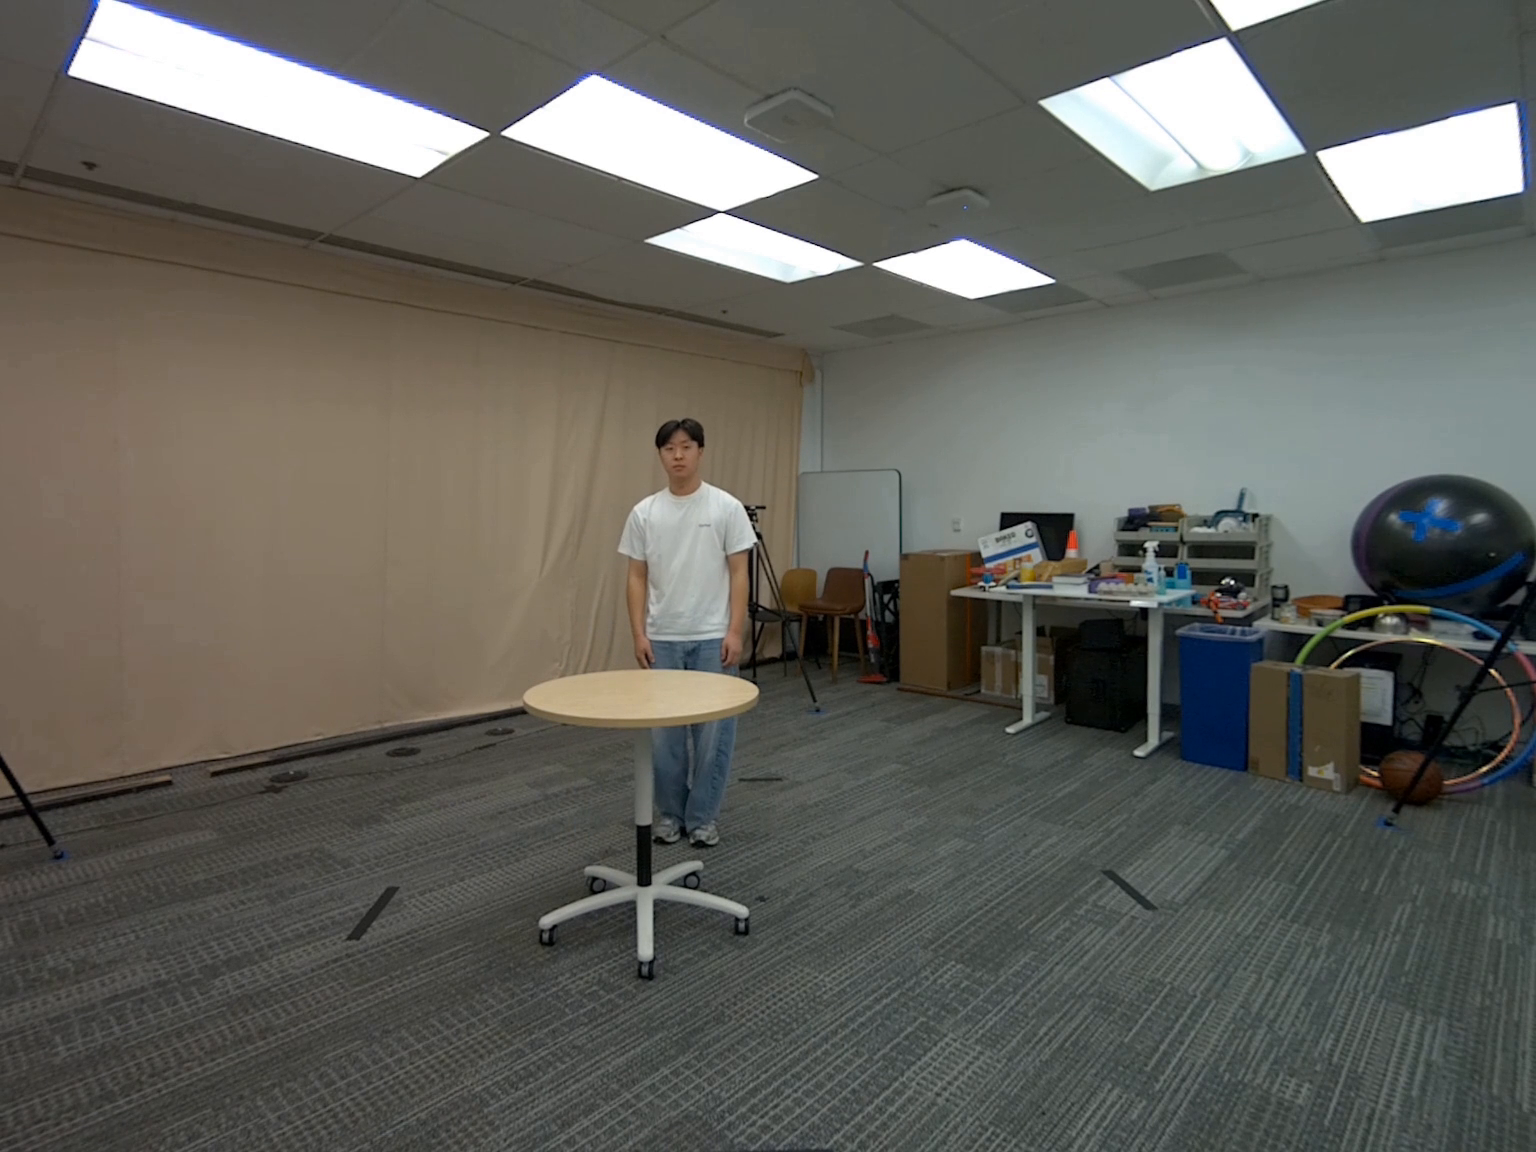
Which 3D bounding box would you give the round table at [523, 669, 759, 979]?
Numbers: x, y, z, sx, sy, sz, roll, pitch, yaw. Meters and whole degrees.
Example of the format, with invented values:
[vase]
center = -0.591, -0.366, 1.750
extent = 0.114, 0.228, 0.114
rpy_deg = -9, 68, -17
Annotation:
[round table]
center = -0.393, 0.765, 2.777
extent = 0.784, 0.785, 0.787
rpy_deg = -1, 3, -2
